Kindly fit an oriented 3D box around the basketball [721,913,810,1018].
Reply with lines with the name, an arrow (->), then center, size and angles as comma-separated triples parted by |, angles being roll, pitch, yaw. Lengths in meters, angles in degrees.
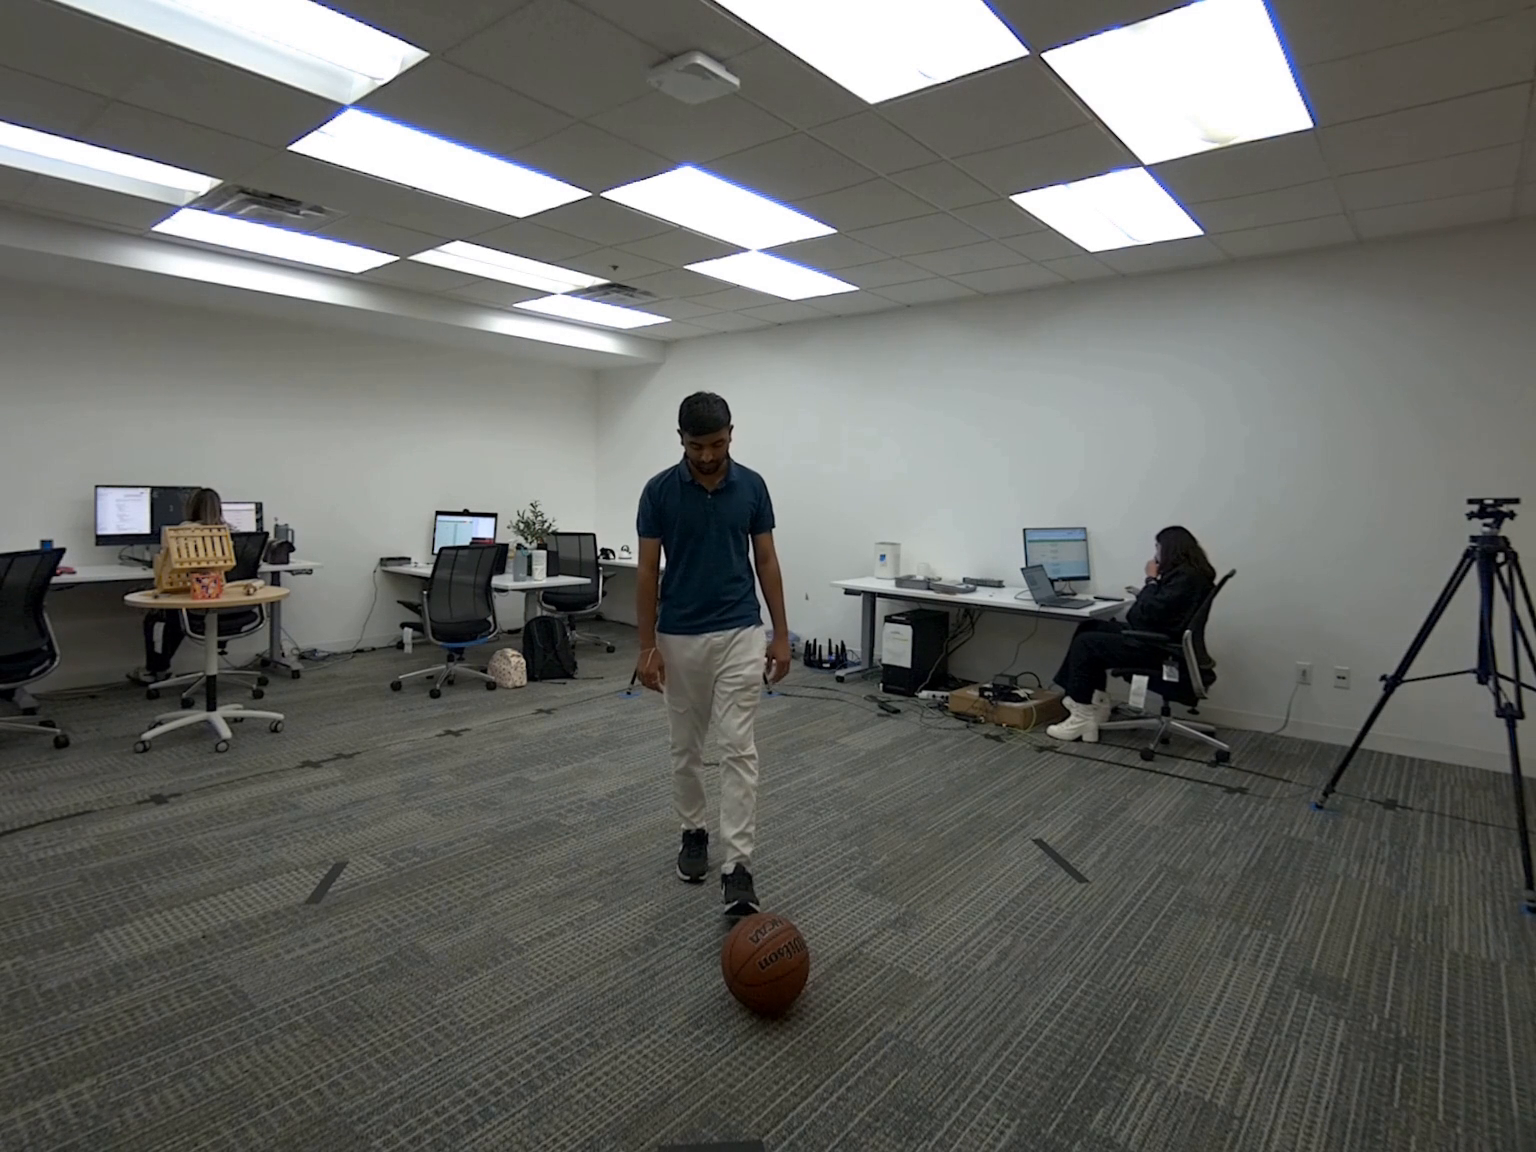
basketball -> -0.008, 1.033, 2.286 | 0.235, 0.235, 0.237 | 1, 4, -2
